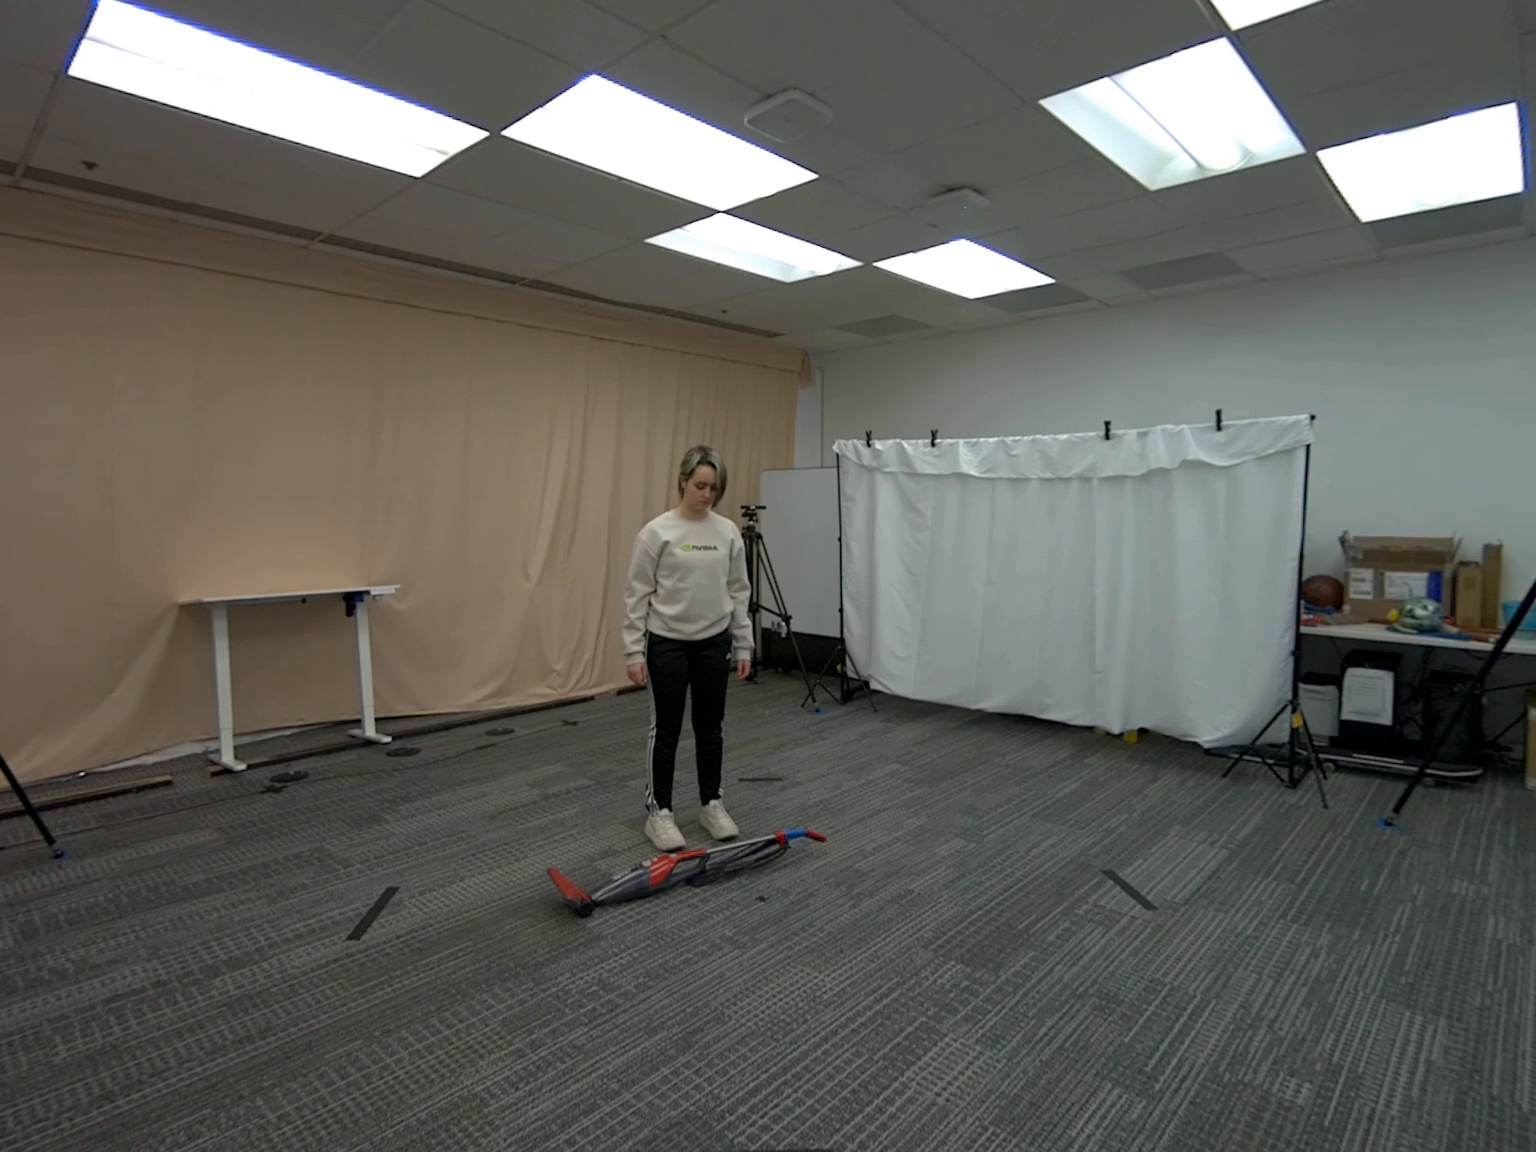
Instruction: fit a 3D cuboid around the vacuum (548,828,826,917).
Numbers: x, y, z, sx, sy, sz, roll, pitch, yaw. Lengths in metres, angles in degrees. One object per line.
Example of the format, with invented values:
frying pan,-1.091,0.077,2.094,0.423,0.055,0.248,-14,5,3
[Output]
vacuum,-0.233,1.072,3.129,1.023,0.144,0.259,-2,4,-27
